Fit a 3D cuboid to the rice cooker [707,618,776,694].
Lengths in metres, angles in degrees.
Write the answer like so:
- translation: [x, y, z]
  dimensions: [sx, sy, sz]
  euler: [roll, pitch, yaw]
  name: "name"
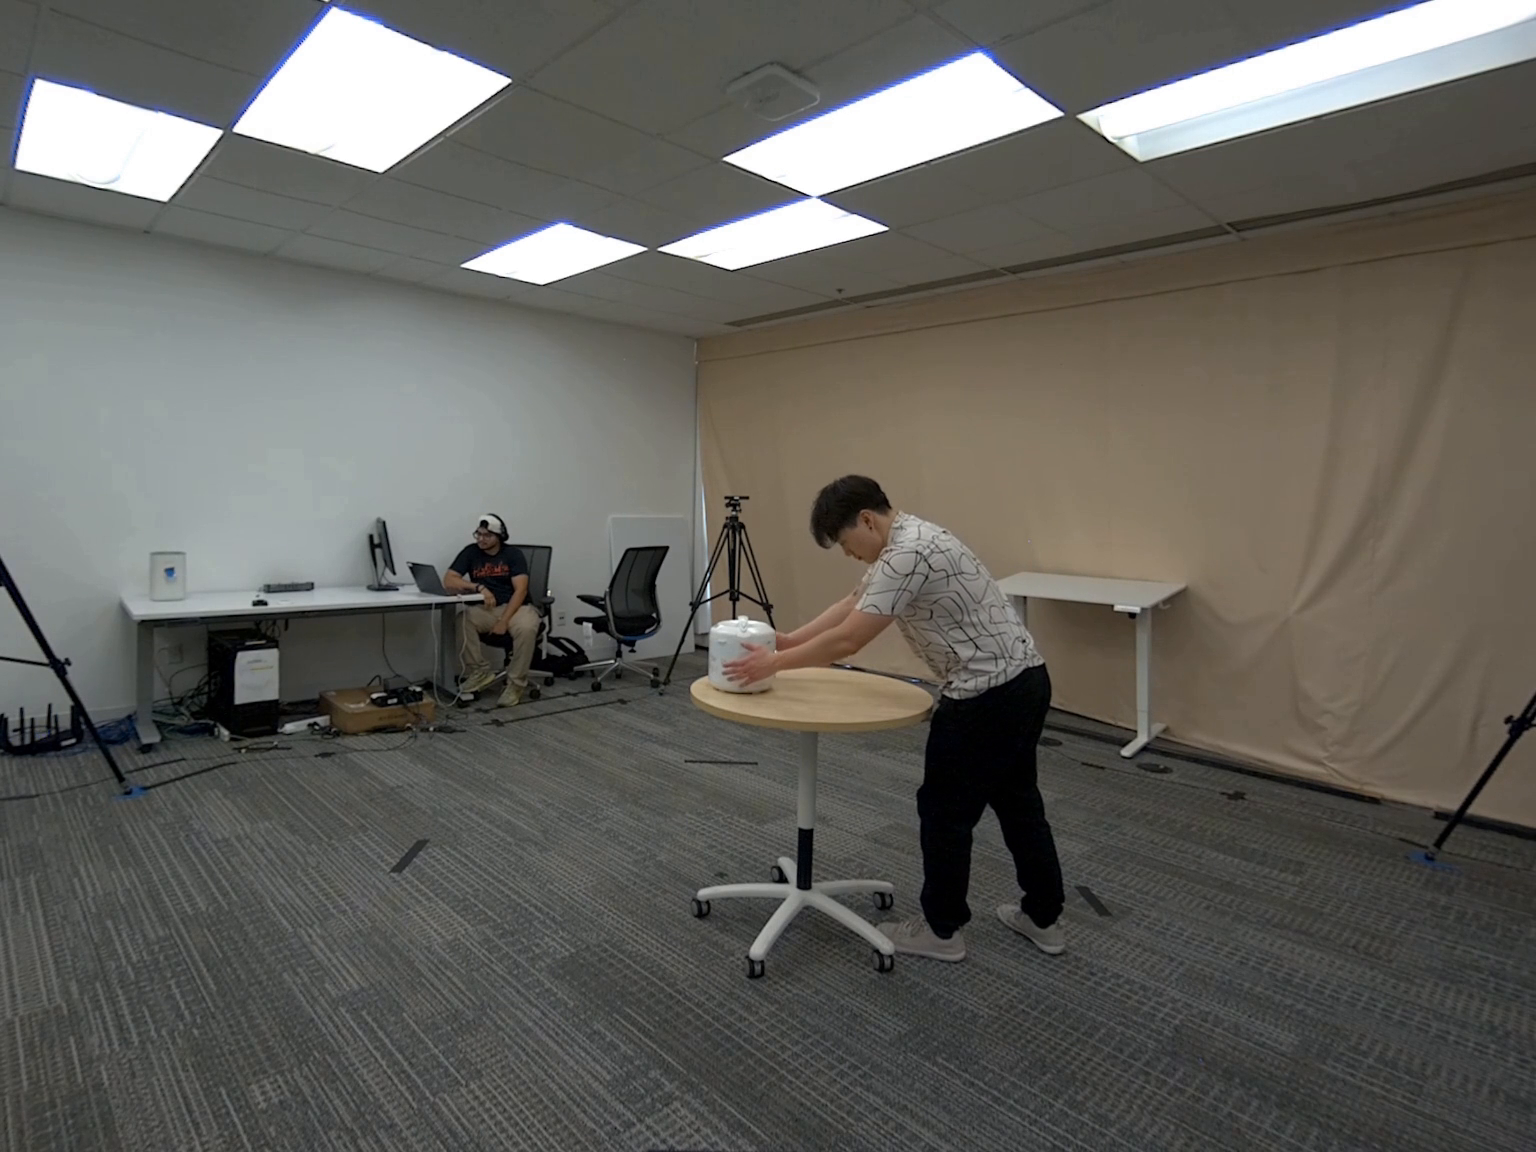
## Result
- translation: [-0.082, 0.243, 2.691]
  dimensions: [0.217, 0.232, 0.221]
  euler: [0, 5, -2]
  name: "rice cooker"
